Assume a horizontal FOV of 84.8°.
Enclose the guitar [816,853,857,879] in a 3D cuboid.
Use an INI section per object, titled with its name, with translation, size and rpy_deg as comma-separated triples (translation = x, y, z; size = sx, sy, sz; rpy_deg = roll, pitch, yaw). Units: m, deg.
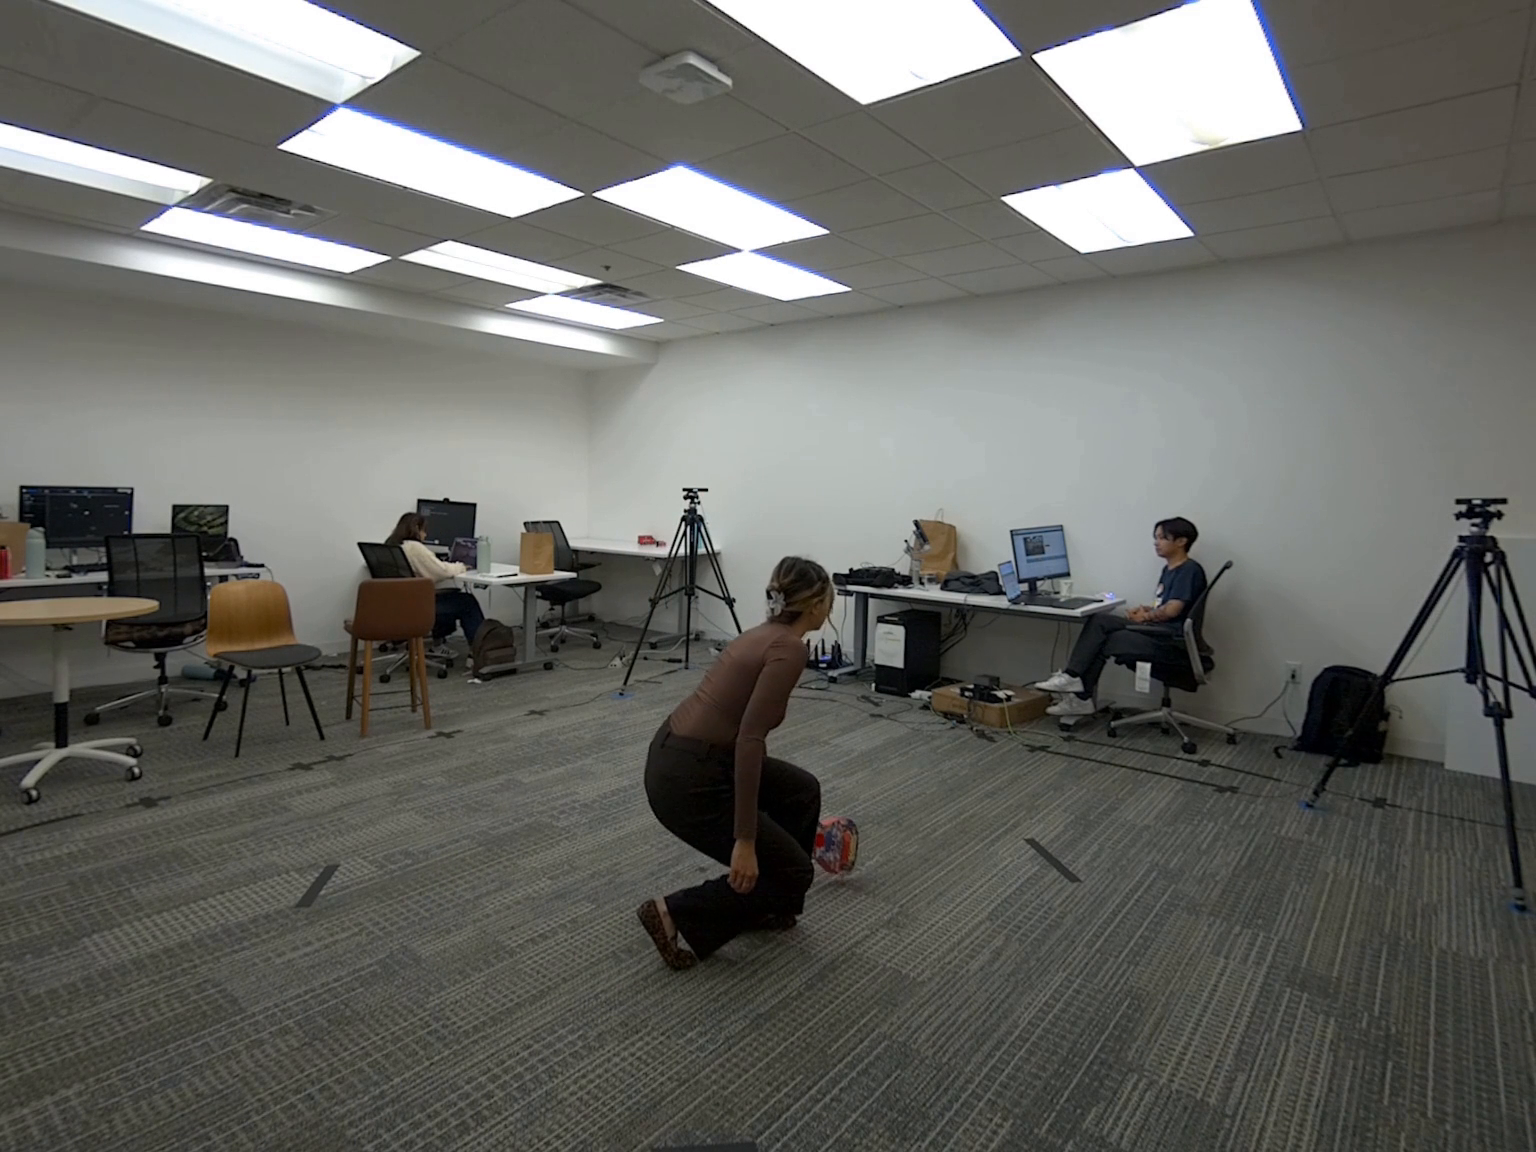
[guitar]
translation = 0.105, 0.866, 2.978
size = 0.484, 0.195, 0.072
rpy_deg = 29, -25, -21
